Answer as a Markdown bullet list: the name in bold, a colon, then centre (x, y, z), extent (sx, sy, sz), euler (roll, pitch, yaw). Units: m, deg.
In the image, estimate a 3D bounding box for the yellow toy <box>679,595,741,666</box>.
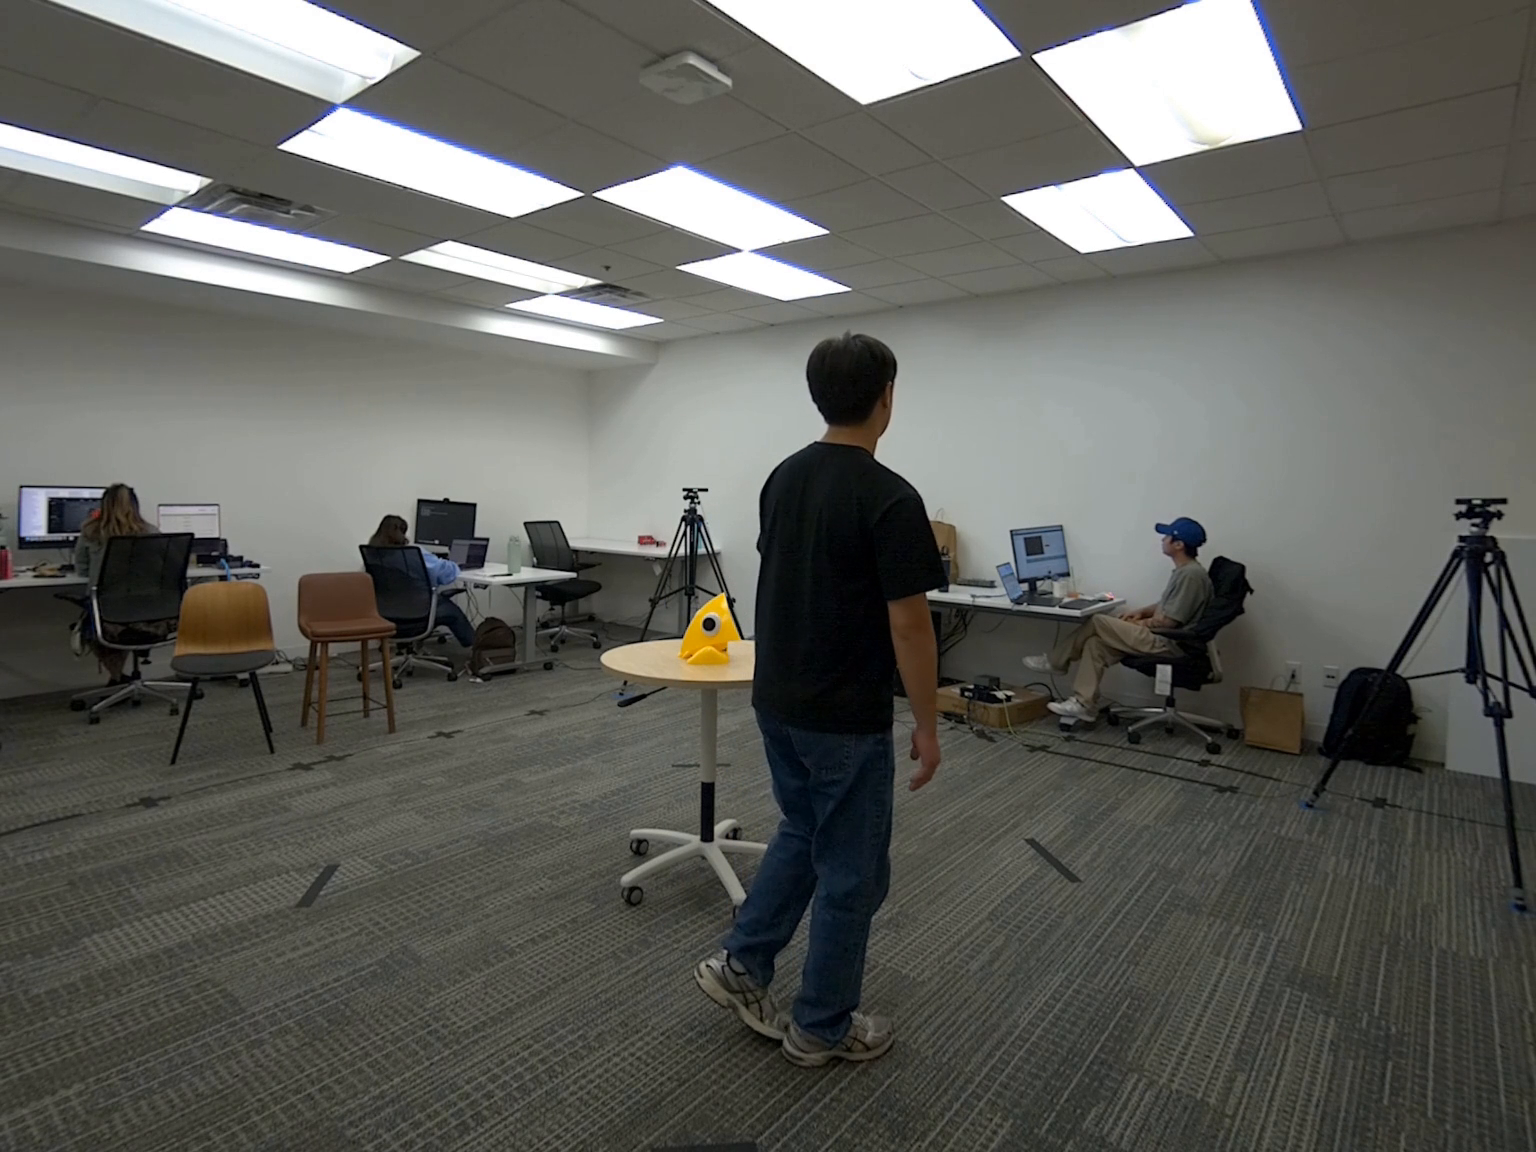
- **yellow toy**: centre (-0.222, 0.170, 2.963), extent (0.189, 0.230, 0.209), euler (1, 4, -20)
